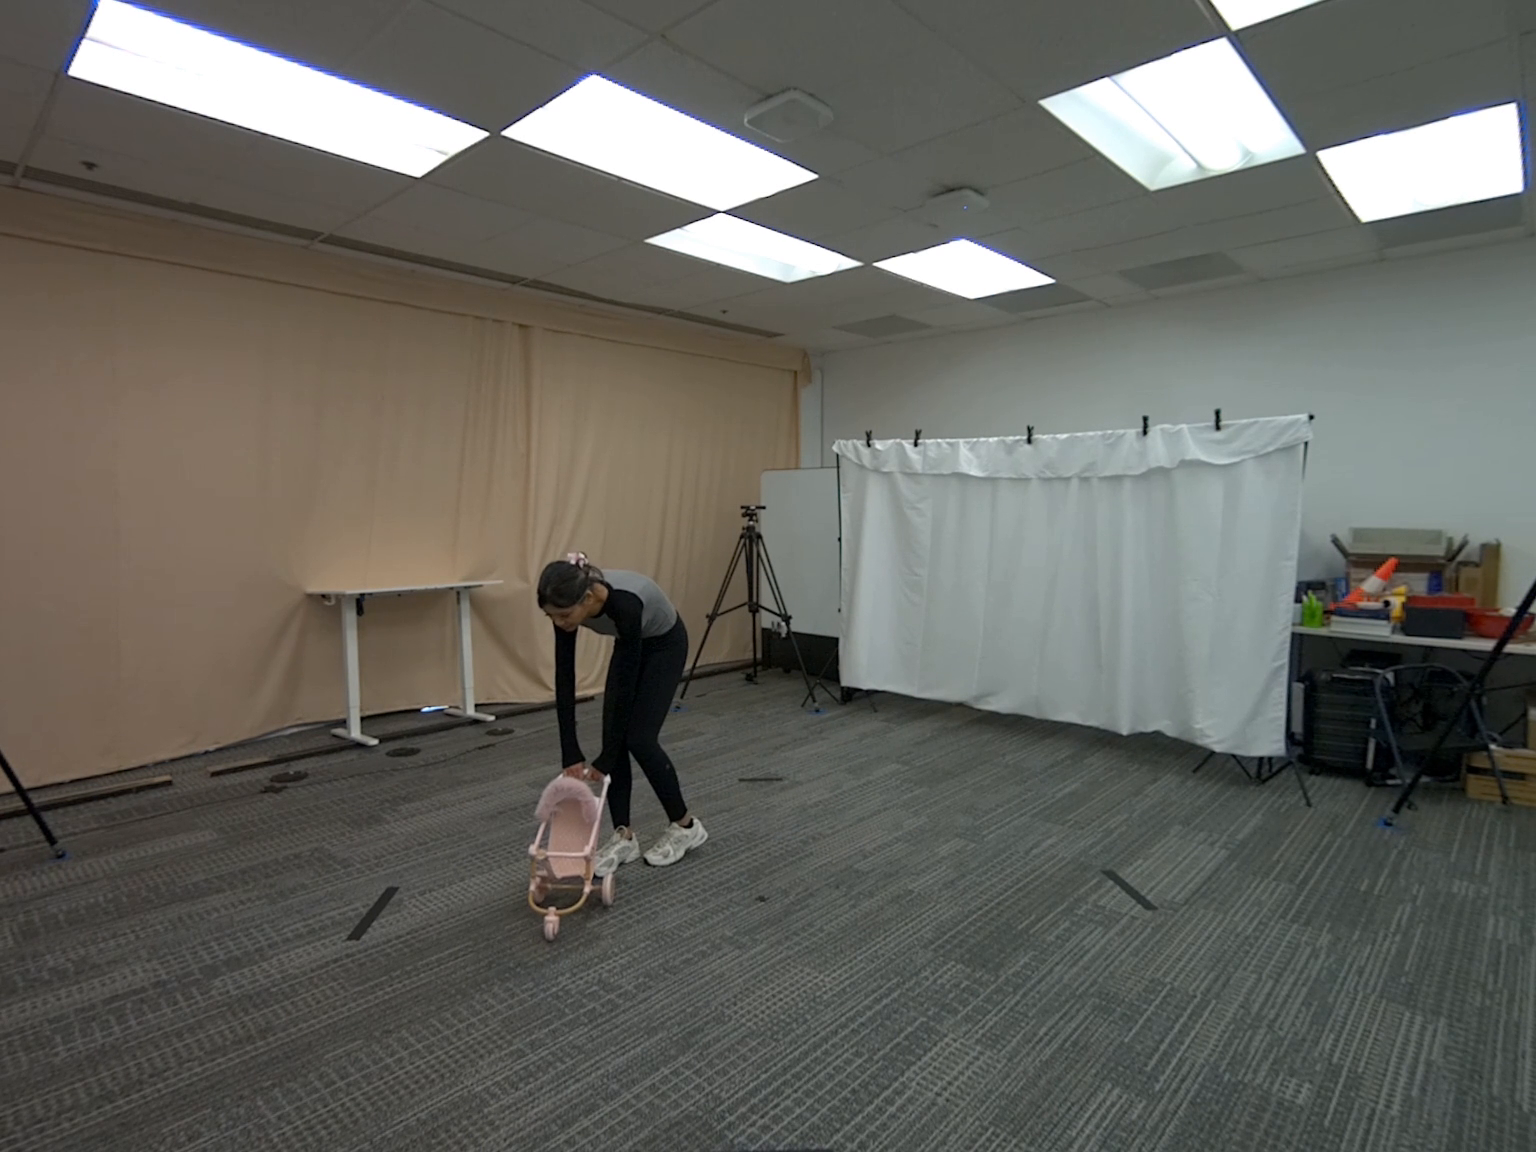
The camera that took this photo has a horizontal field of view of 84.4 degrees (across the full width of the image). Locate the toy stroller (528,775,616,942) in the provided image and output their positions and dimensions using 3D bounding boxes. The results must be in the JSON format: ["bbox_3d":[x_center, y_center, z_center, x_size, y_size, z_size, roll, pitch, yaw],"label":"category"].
[{"bbox_3d":[-0.690,0.934,2.887,0.284,0.539,0.335,-1,-13,9],"label":"toy stroller"}]
